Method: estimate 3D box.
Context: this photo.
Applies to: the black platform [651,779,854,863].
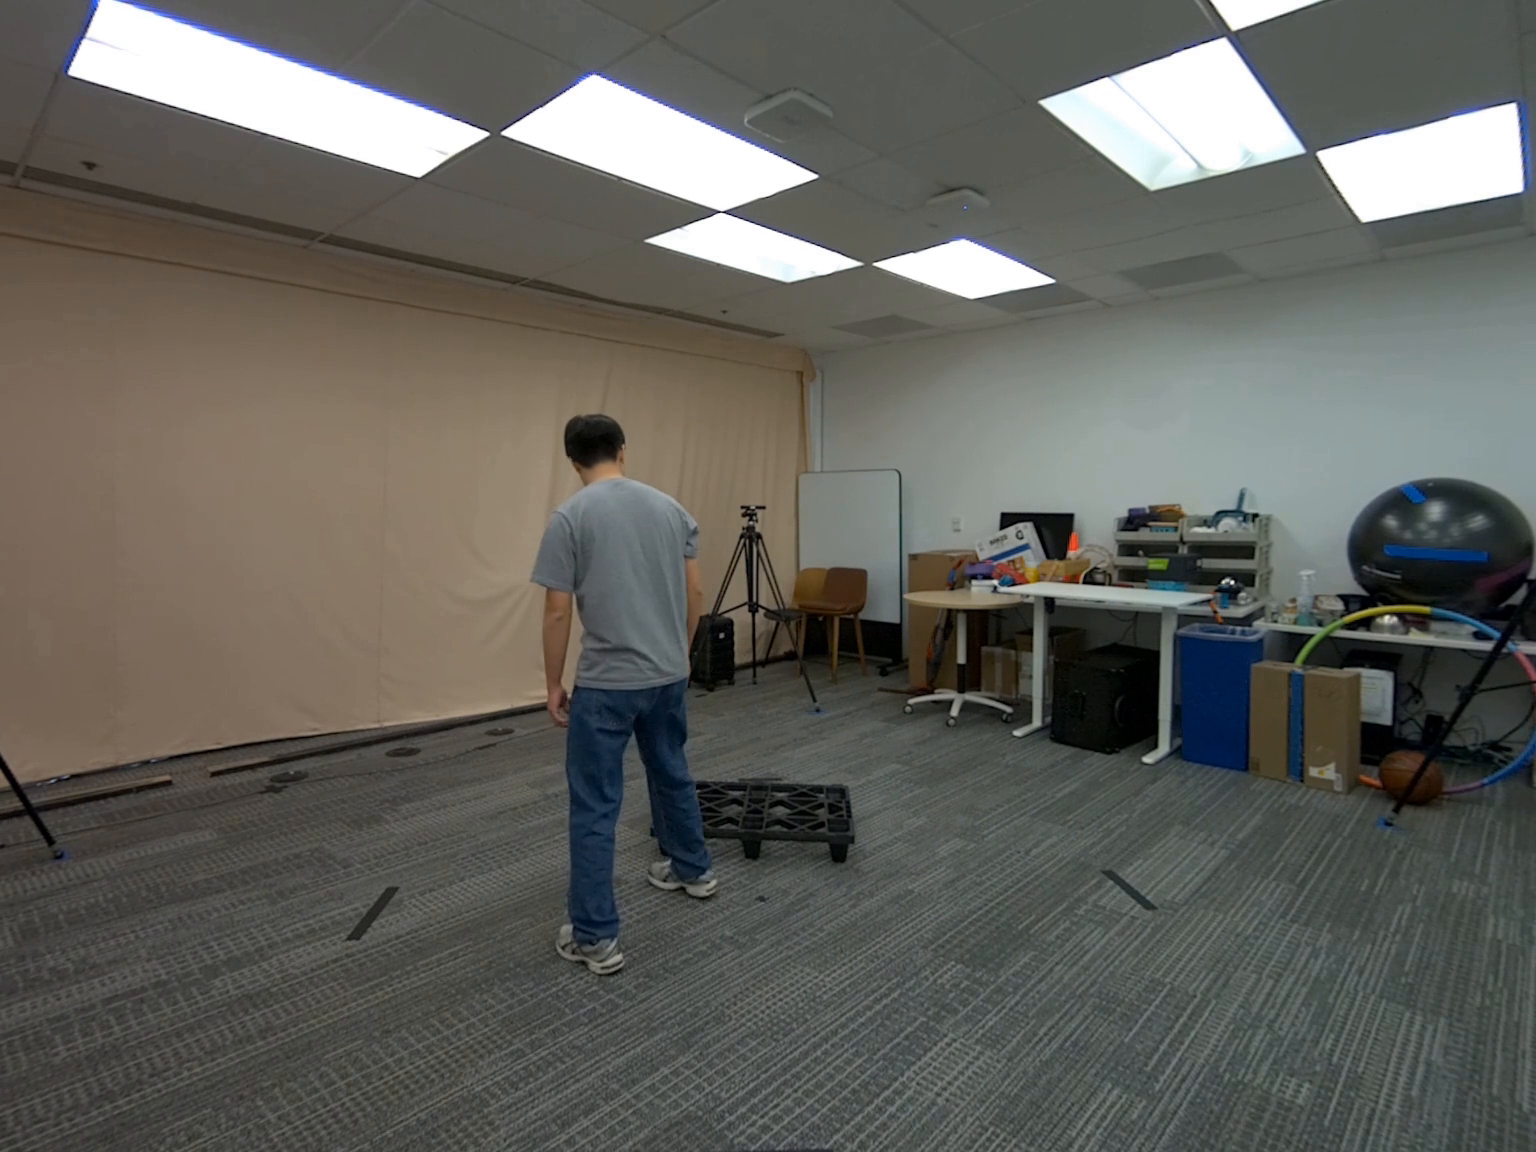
[{"bbox_3d":[-0.045,1.027,3.540,0.811,0.143,0.603,0,5,5],"label":"black platform"}]
